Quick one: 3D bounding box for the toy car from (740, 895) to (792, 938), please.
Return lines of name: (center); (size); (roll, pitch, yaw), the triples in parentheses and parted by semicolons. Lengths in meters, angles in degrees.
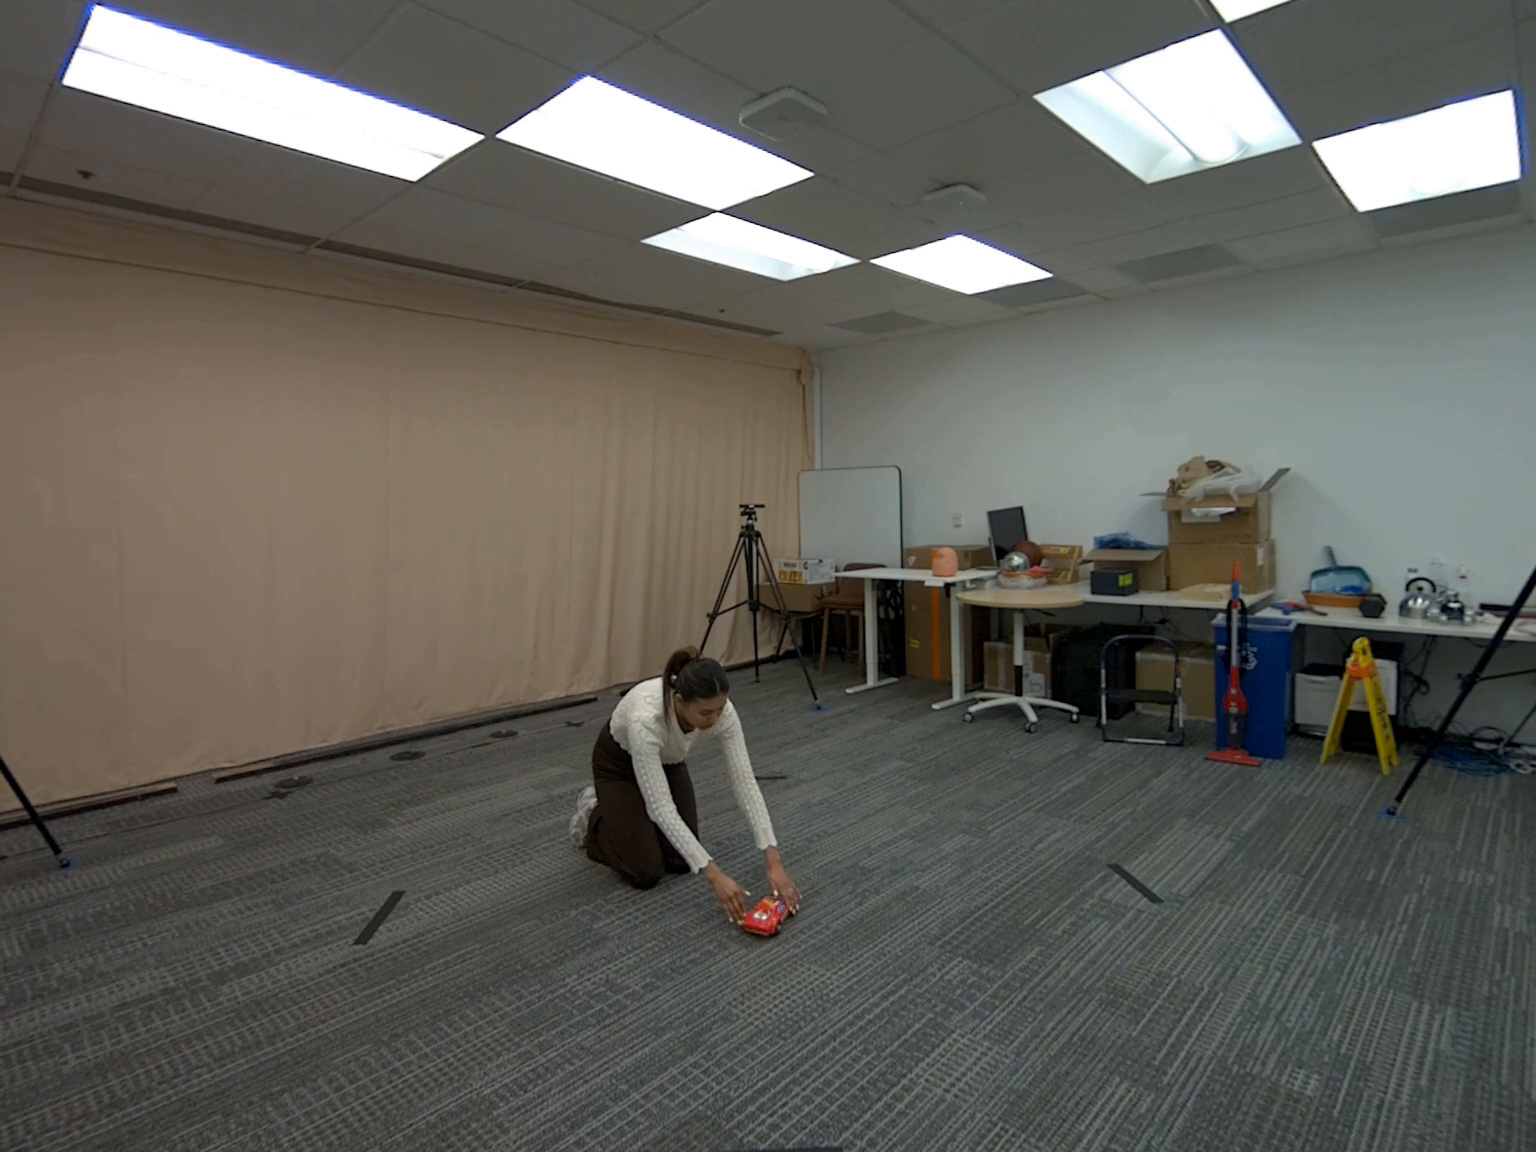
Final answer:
toy car: (0.004, 1.124, 2.788); (0.133, 0.083, 0.247); (1, -7, 25)
